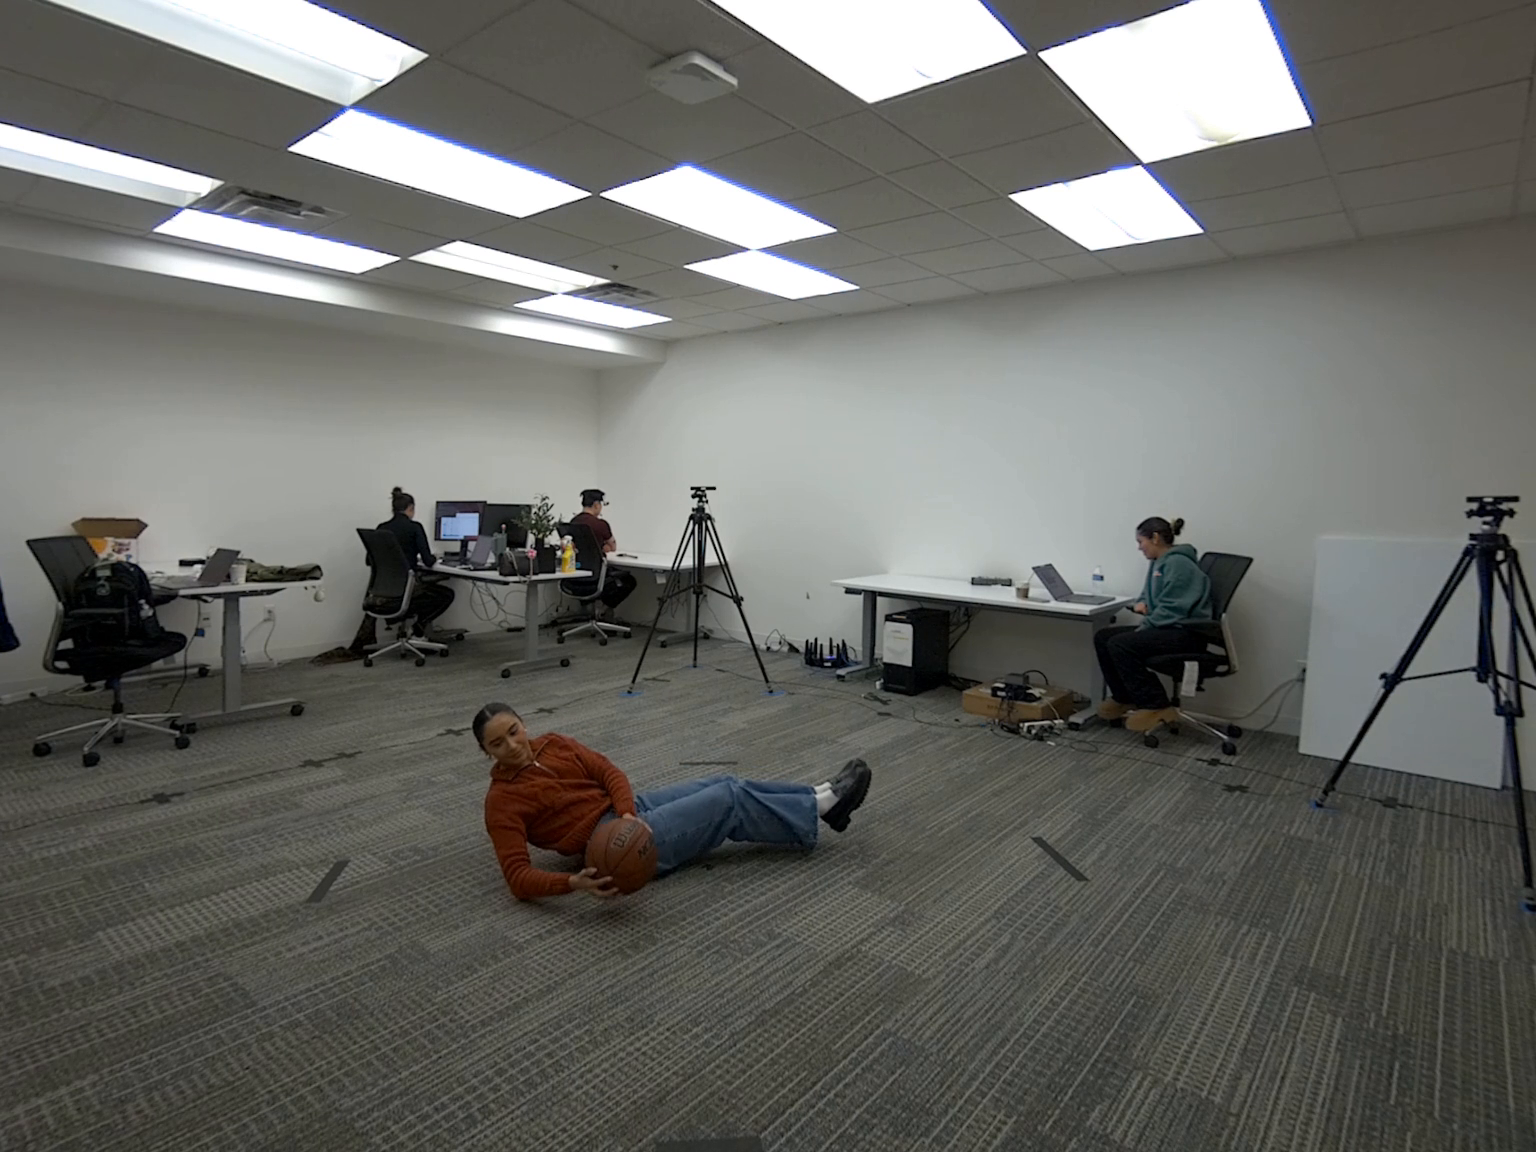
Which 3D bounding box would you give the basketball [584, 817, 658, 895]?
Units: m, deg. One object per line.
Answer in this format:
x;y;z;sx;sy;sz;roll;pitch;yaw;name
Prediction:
-0.479;0.867;2.777;0.235;0.235;0.237;1;4;-2;basketball
